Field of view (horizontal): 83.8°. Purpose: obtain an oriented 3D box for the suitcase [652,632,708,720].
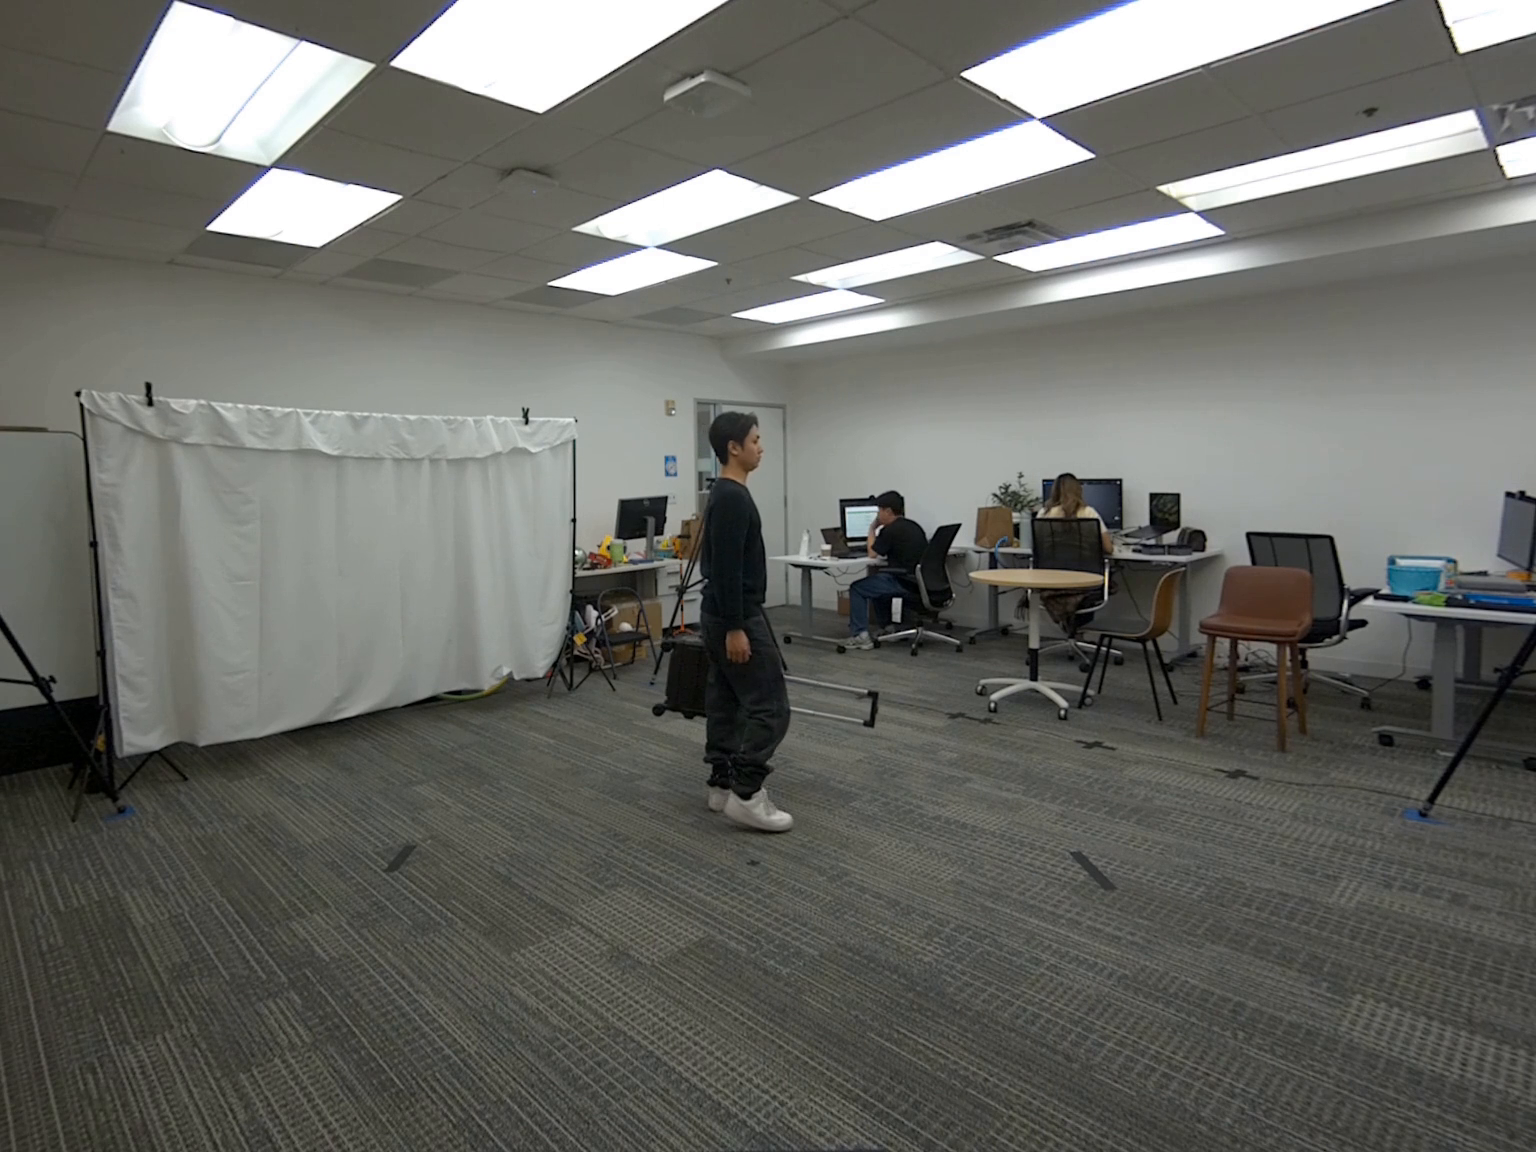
[{"bbox_3d":[-0.007,0.496,3.870,0.989,0.384,0.254,7,1,10],"label":"suitcase"}]
